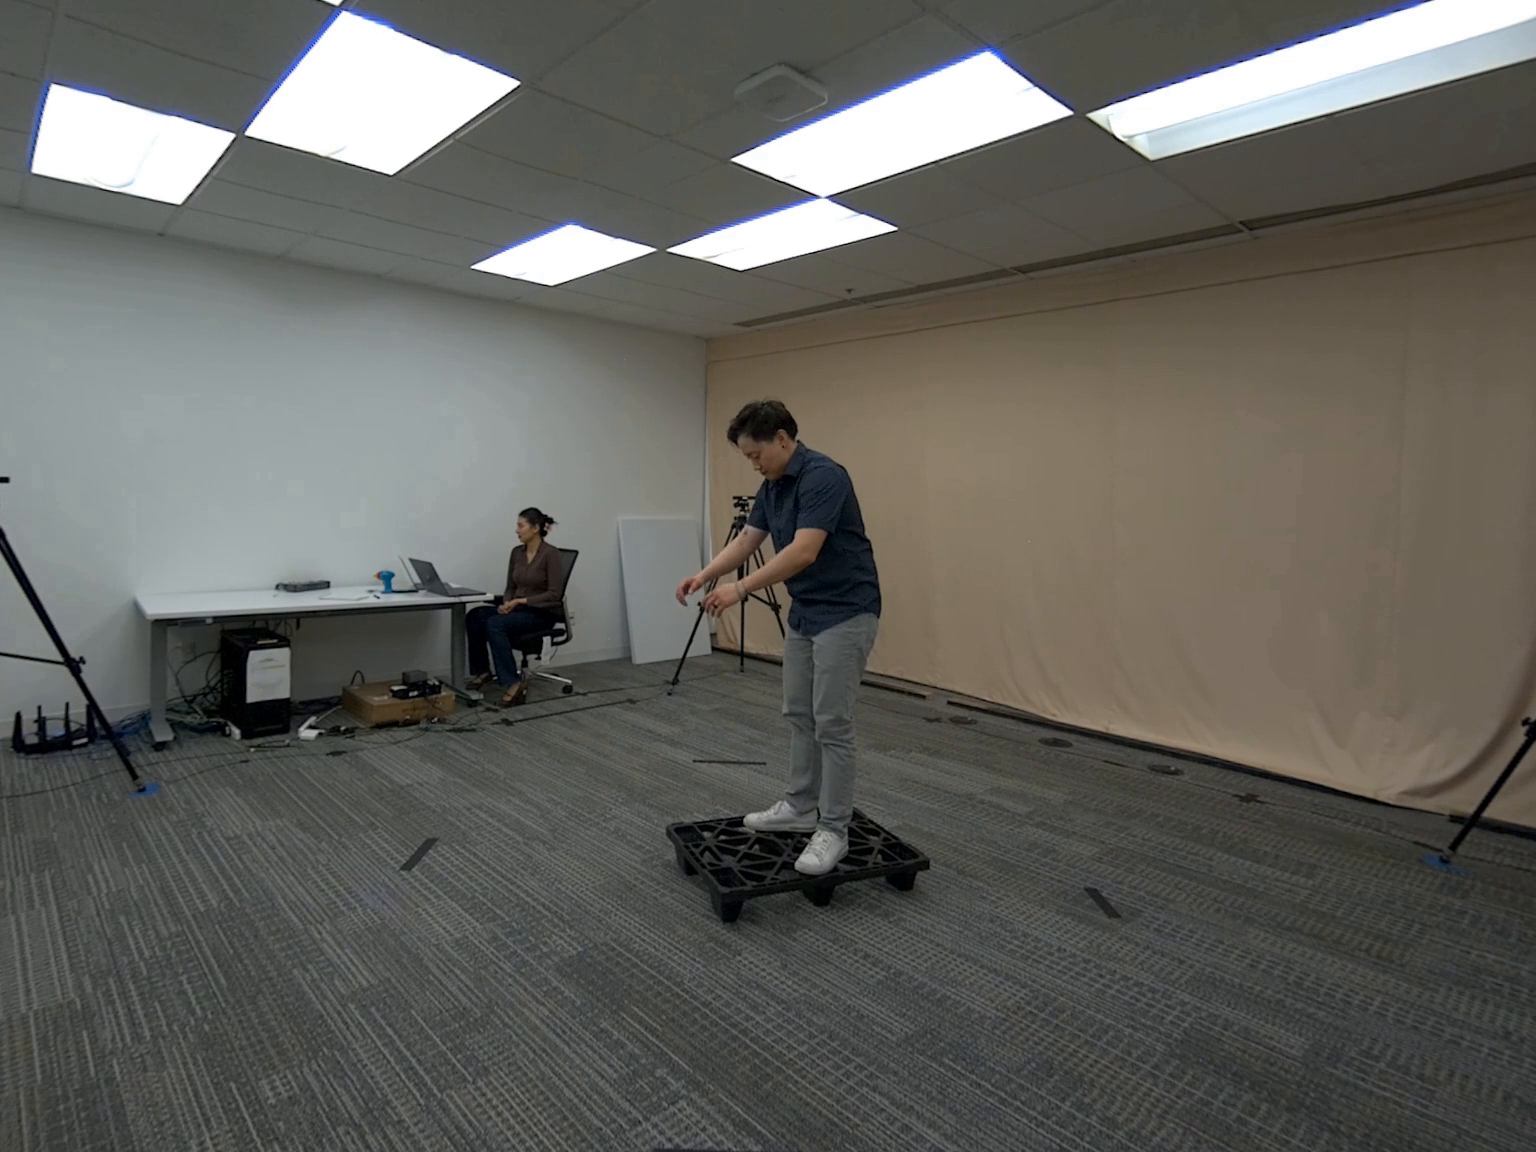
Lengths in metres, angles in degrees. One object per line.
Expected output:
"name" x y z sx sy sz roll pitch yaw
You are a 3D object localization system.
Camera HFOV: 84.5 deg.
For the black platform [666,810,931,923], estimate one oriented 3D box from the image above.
"black platform" 0.089 1.042 3.091 0.792 0.143 0.617 -1 6 -23
